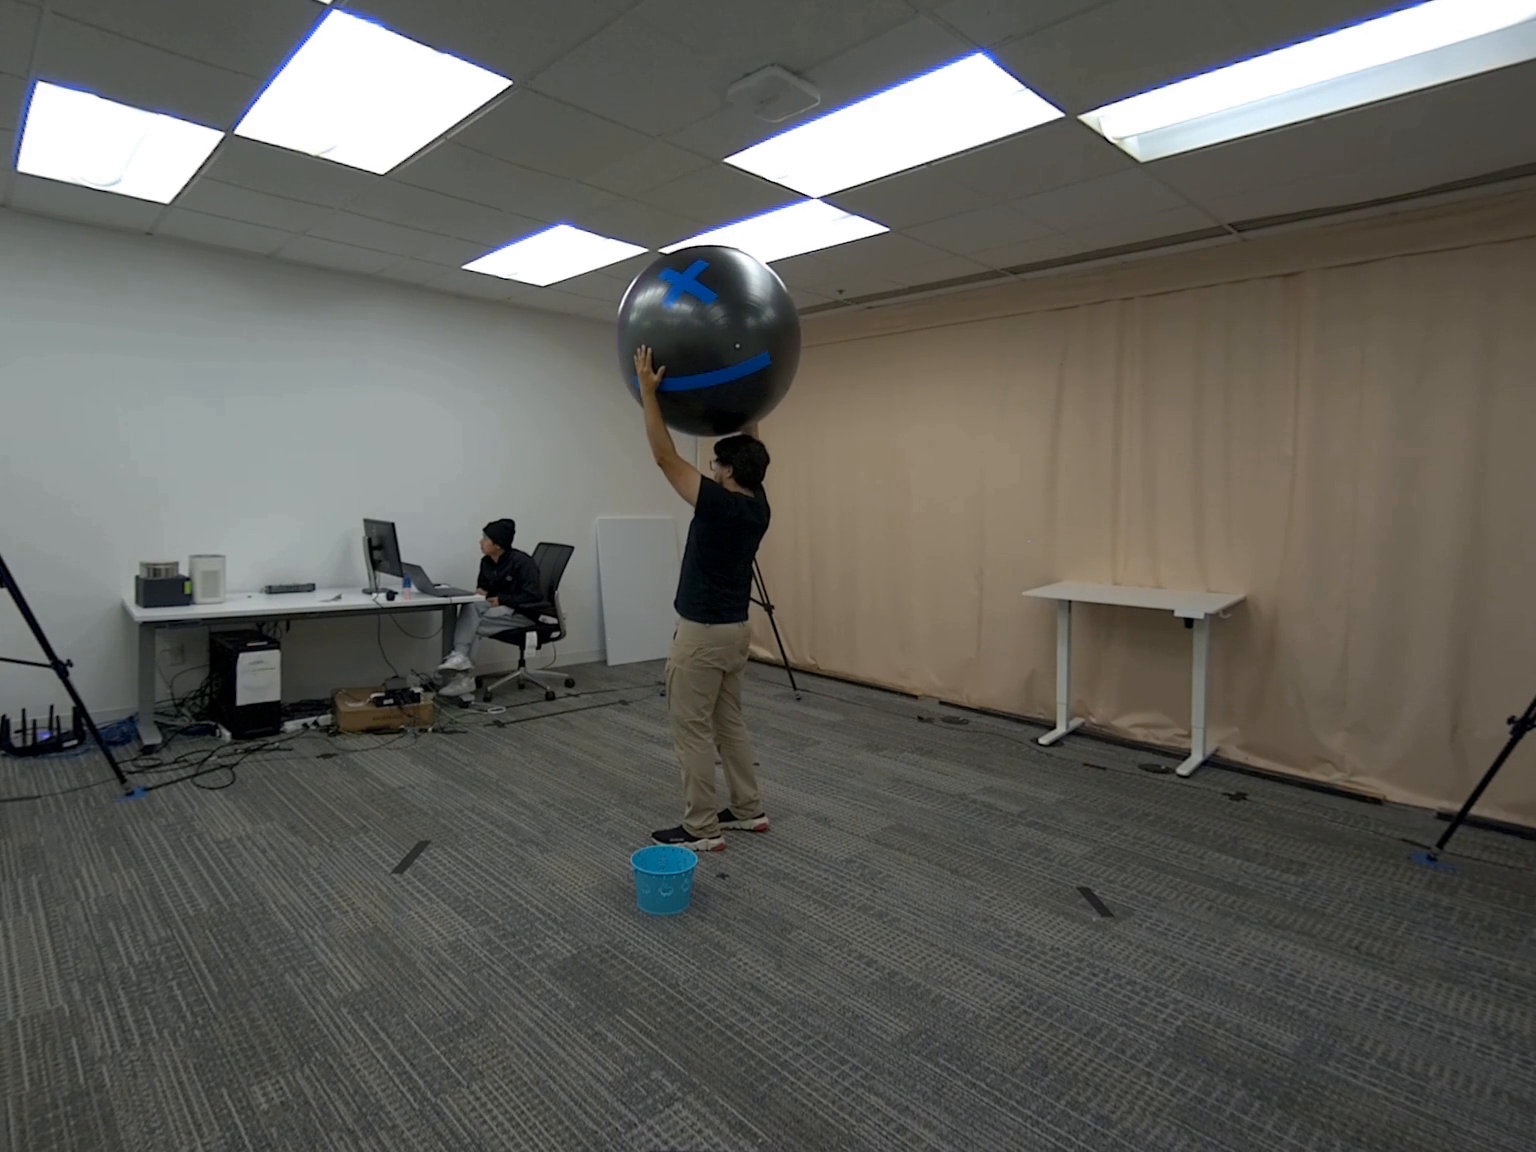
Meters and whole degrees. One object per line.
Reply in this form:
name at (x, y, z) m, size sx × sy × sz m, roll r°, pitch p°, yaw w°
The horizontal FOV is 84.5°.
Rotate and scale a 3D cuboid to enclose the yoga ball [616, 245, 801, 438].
yoga ball at (-0.247, -0.945, 3.419) m, size 0.757 × 0.756 × 0.761 m, roll 1°, pitch 4°, yaw -1°
